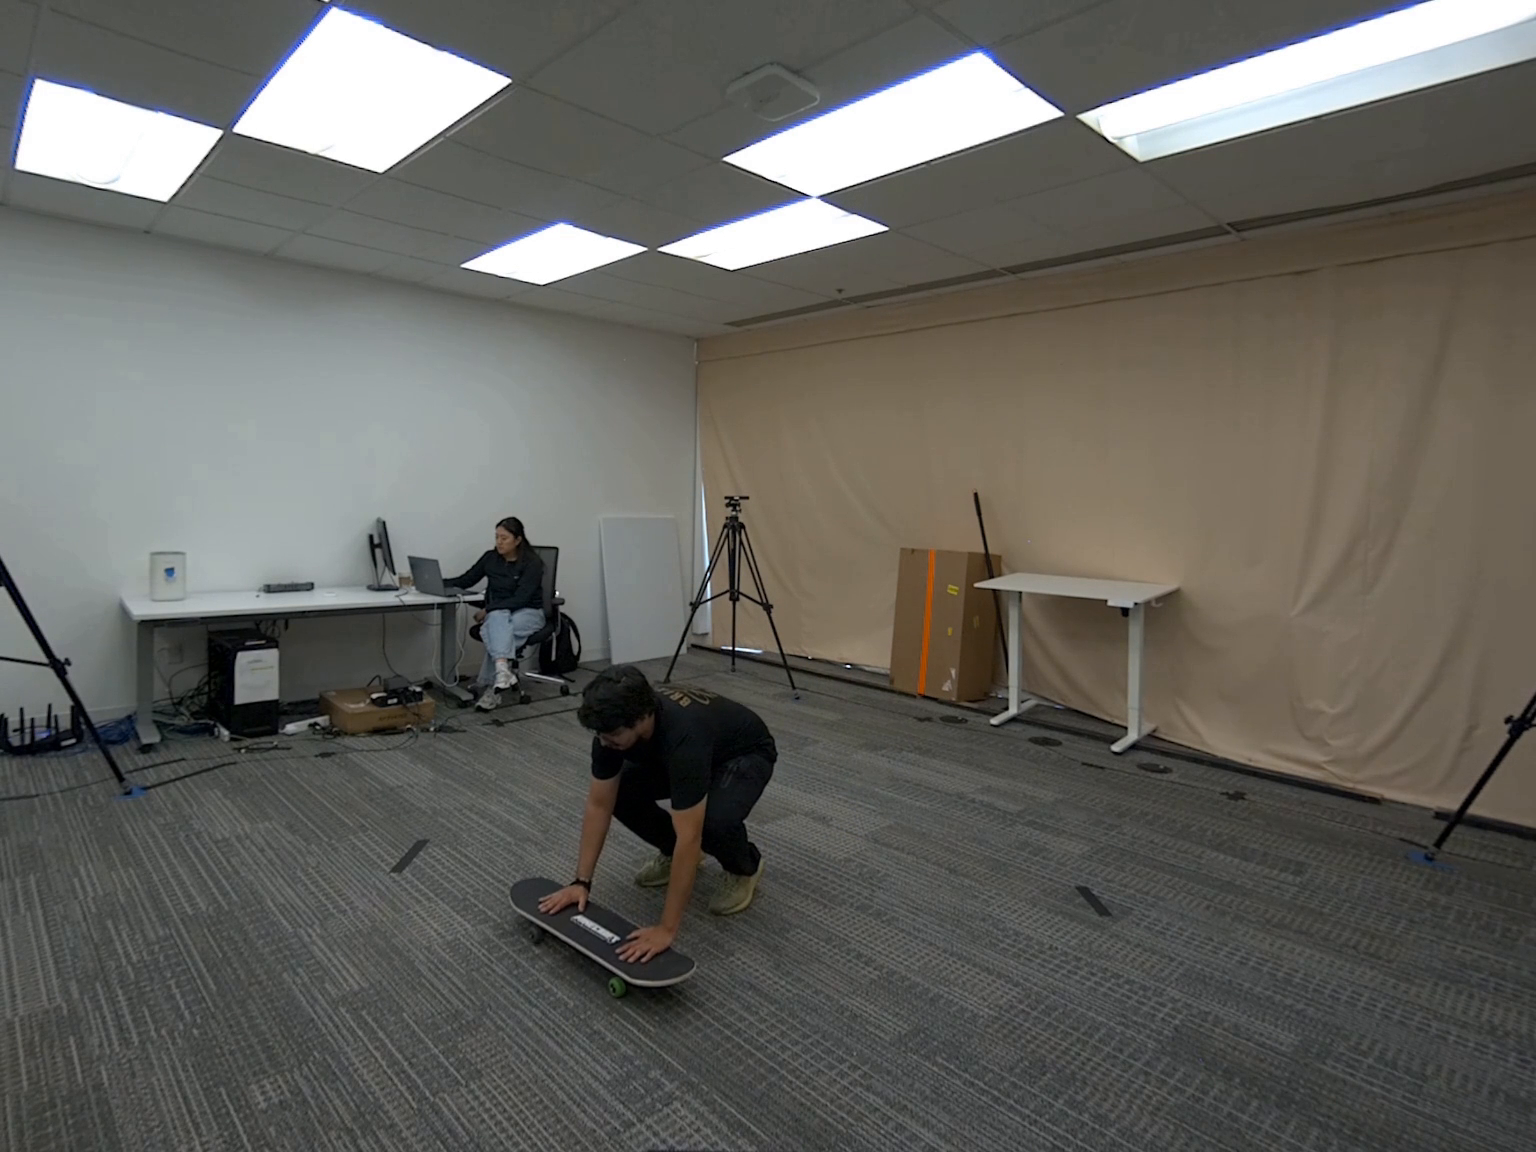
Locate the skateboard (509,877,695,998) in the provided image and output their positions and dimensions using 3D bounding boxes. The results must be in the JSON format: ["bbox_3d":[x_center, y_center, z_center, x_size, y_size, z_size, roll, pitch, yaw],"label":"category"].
[{"bbox_3d":[-0.518,1.093,2.527,0.806,0.110,0.189,6,8,42],"label":"skateboard"}]
